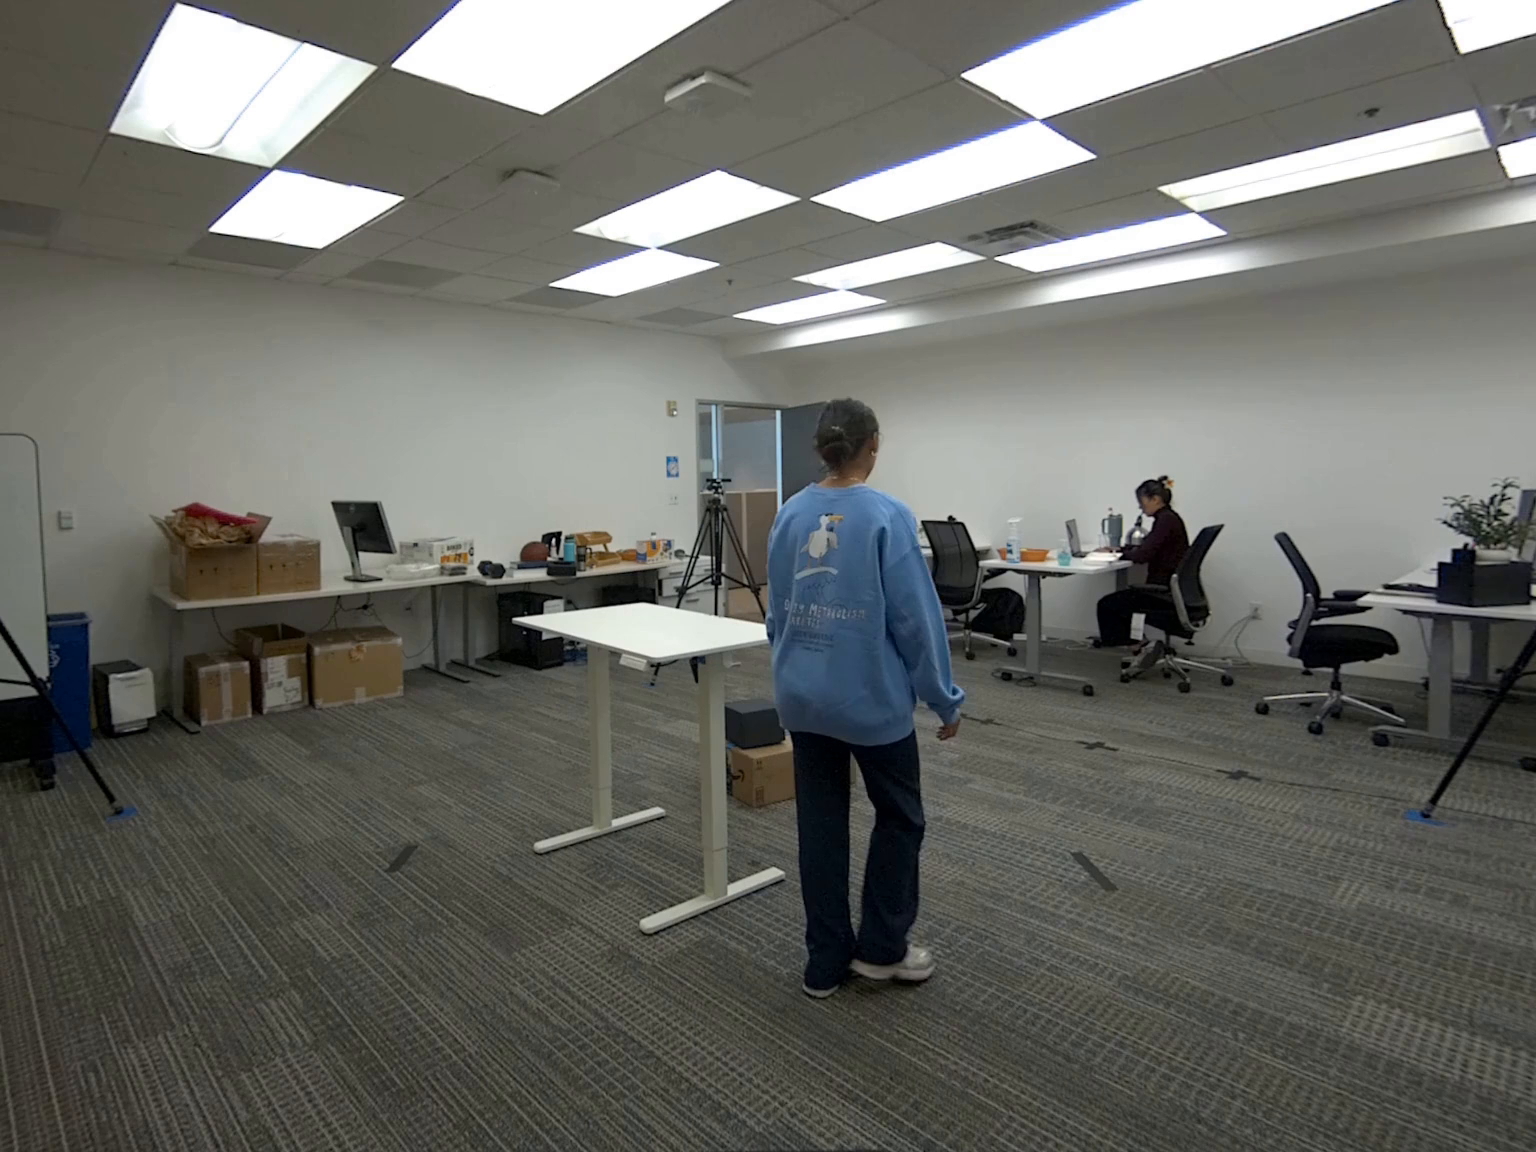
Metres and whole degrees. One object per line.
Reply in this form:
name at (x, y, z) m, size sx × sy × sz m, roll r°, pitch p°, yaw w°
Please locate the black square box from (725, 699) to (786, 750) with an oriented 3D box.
black square box at (-0.067, 0.656, 3.853) m, size 0.212 × 0.156 × 0.233 m, roll -4°, pitch 3°, yaw -25°
